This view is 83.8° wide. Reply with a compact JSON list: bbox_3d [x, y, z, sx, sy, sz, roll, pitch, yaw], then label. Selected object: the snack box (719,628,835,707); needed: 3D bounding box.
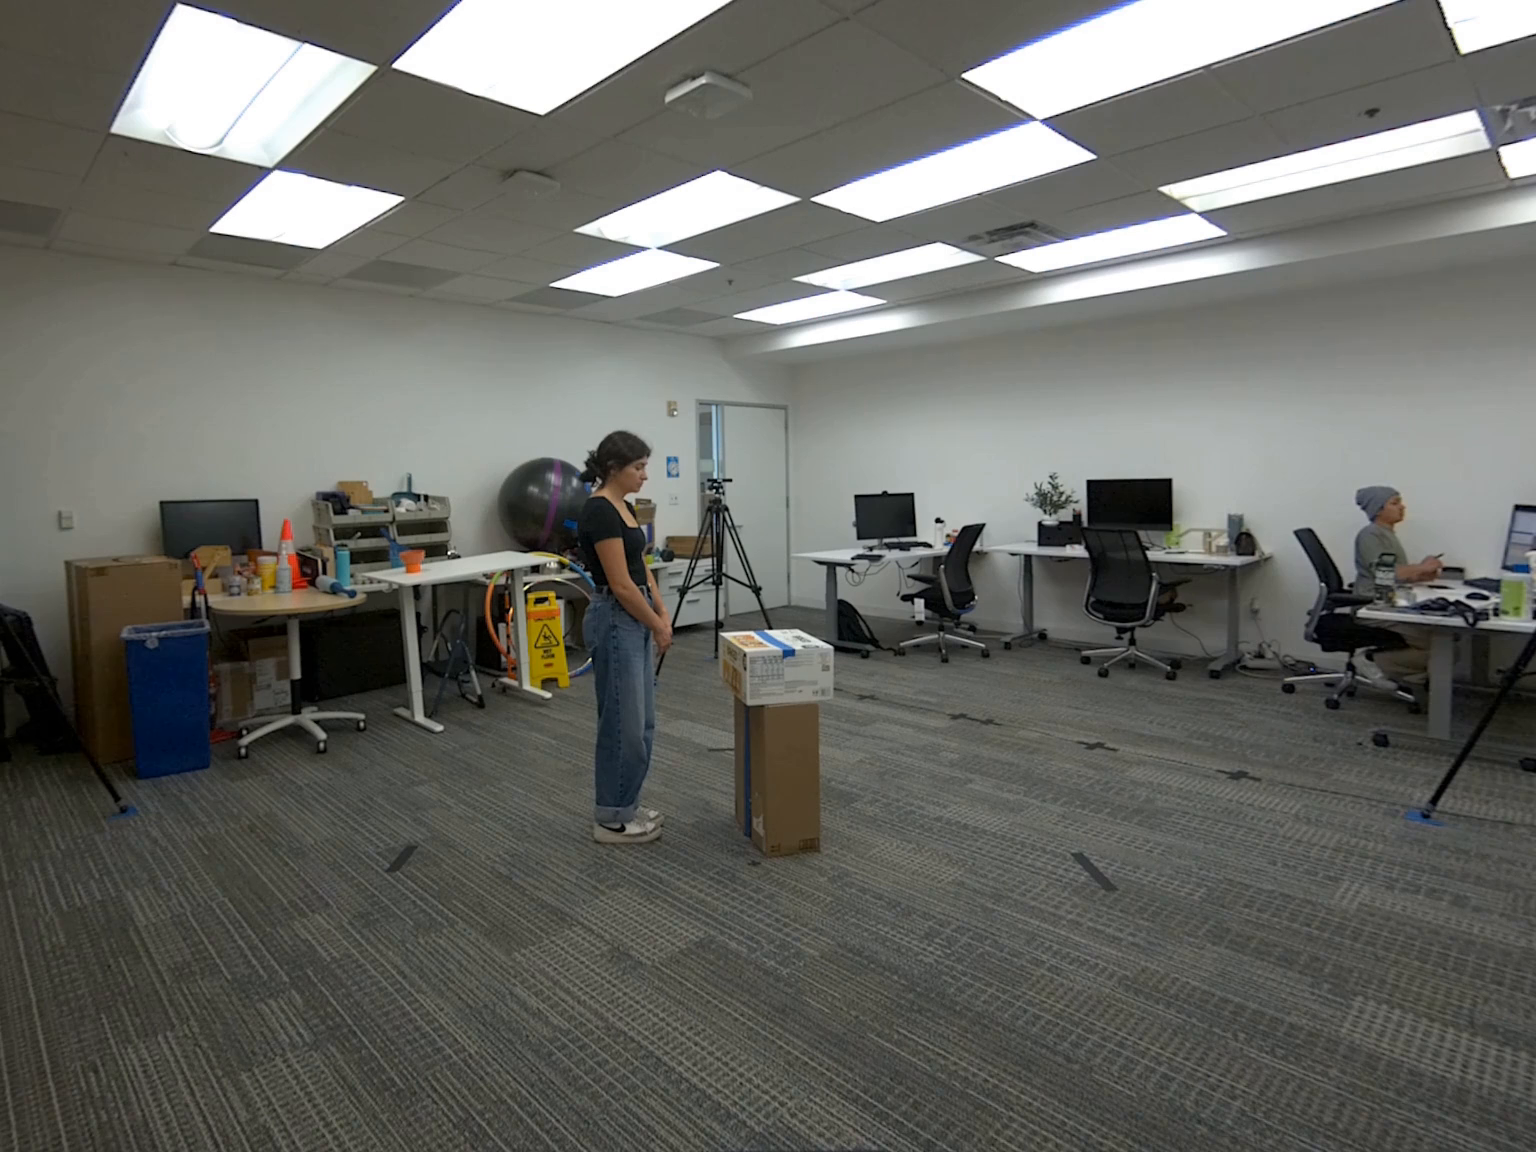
[{"bbox_3d":[0.021,0.347,3.338,0.335,0.205,0.413,-2,6,-16],"label":"snack box"}]
